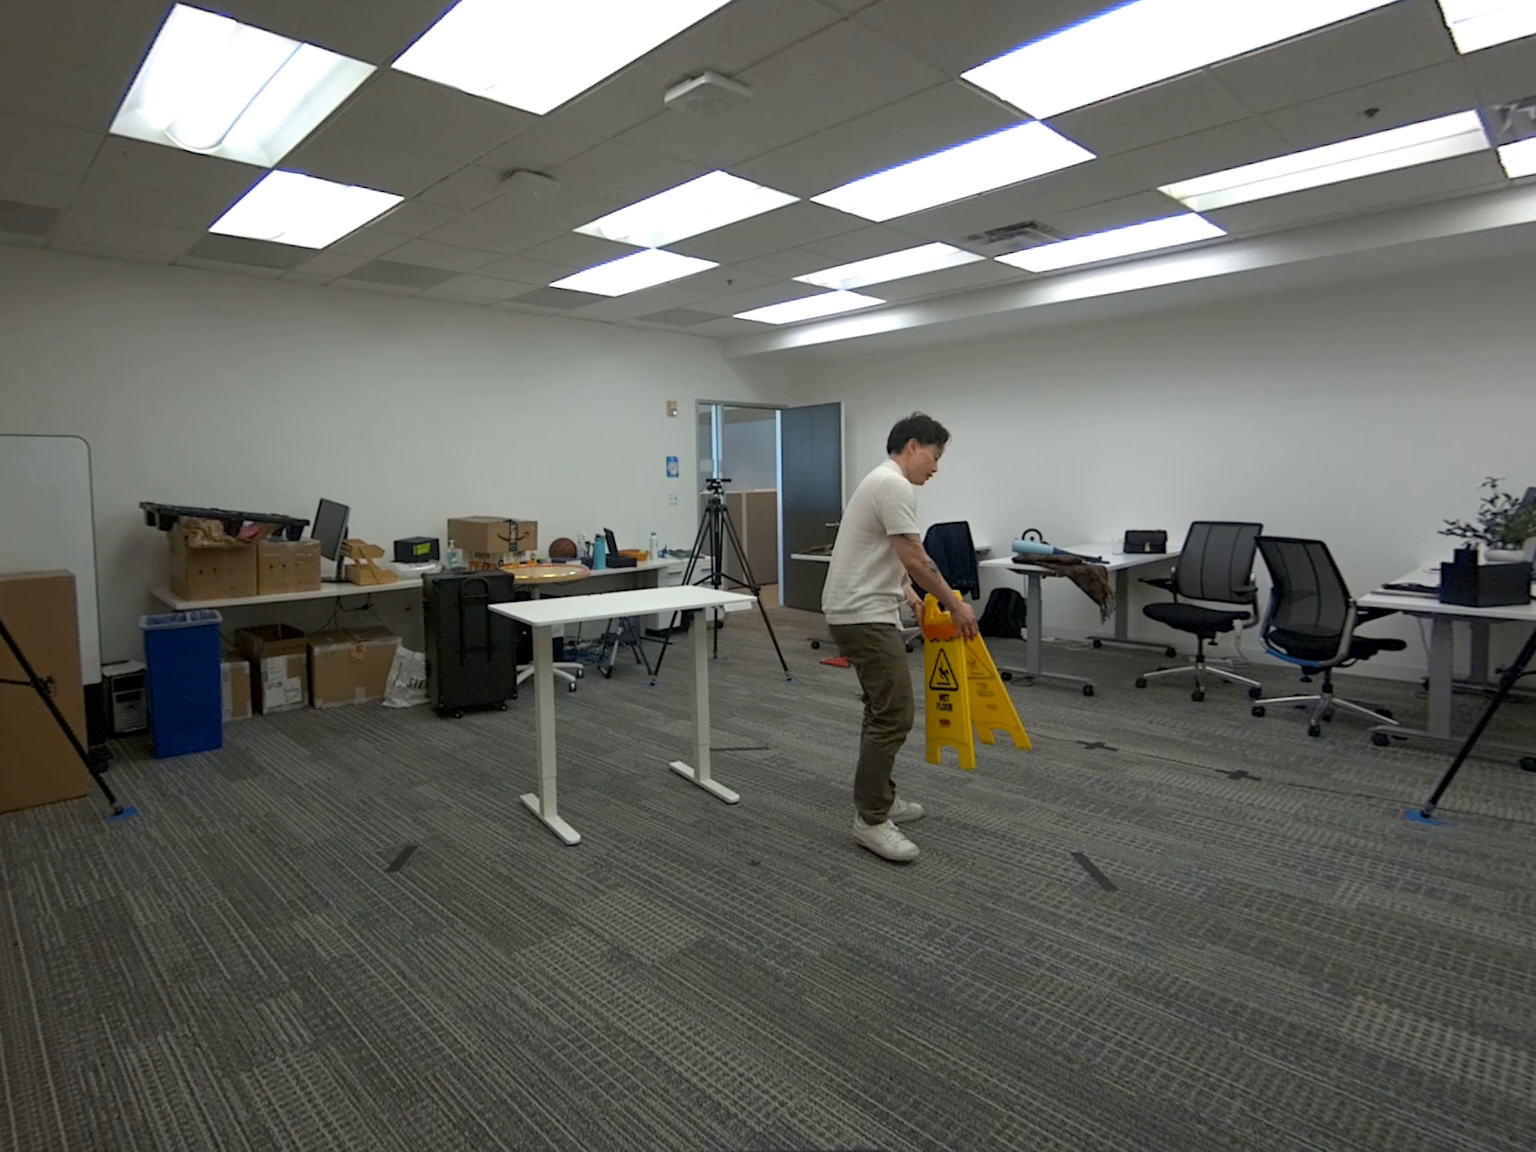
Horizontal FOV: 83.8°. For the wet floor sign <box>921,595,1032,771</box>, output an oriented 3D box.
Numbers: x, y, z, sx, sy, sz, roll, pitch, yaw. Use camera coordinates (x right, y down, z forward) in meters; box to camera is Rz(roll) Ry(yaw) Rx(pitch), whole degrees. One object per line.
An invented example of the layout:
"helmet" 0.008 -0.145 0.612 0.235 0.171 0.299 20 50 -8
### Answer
"wet floor sign" 0.738 0.381 3.316 0.284 0.648 0.286 -11 -3 -26
